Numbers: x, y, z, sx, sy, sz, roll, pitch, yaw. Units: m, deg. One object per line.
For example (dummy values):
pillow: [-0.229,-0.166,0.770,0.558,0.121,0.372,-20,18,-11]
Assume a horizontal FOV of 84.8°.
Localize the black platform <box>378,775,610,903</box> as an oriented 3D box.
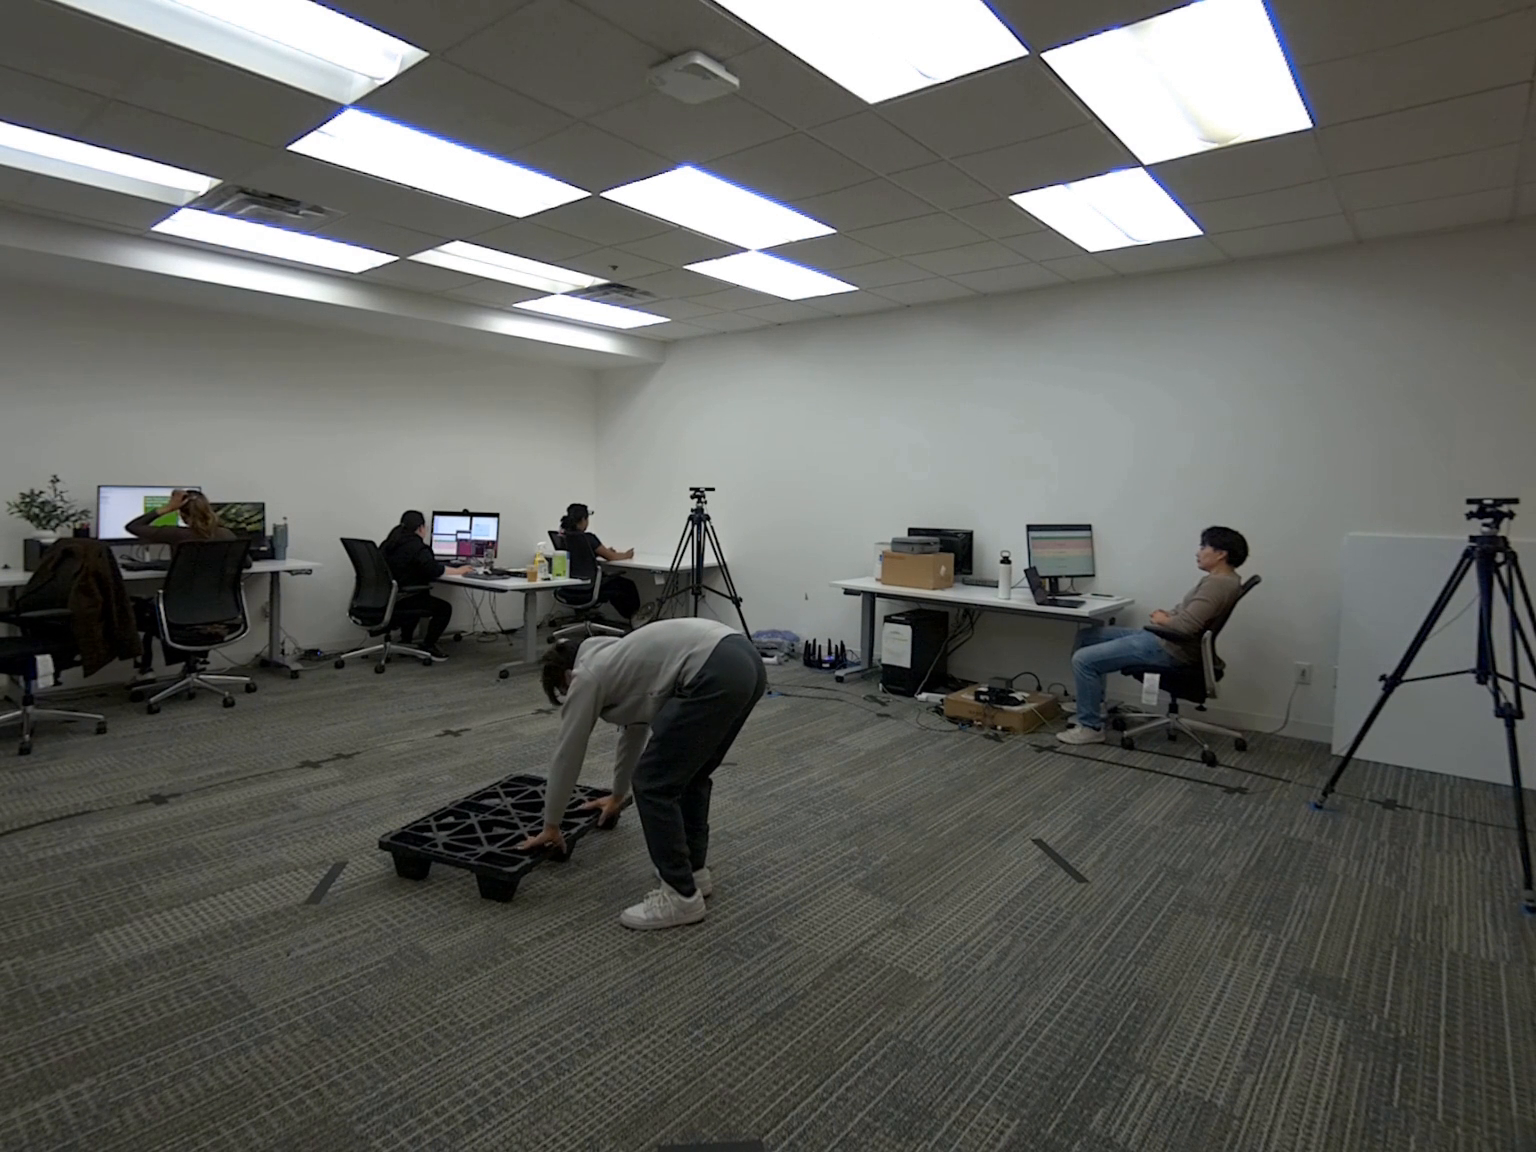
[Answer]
black platform: [-0.979,0.971,3.240,0.619,0.143,0.790,2,5,21]
